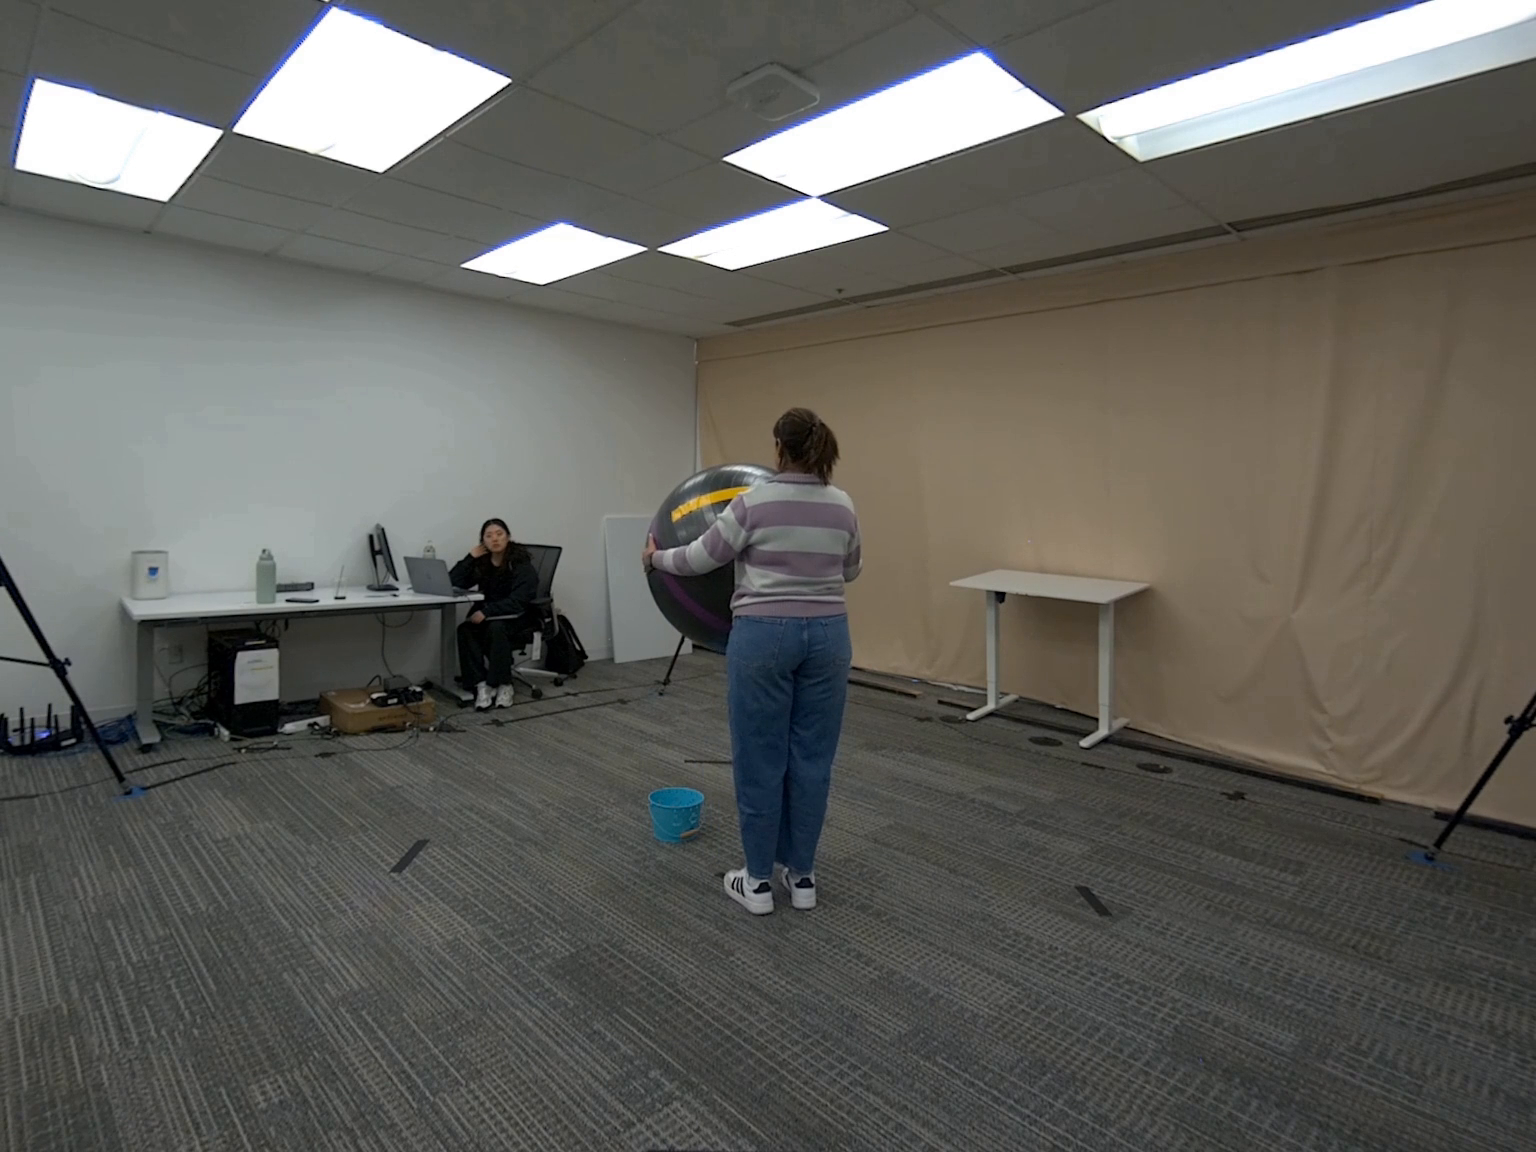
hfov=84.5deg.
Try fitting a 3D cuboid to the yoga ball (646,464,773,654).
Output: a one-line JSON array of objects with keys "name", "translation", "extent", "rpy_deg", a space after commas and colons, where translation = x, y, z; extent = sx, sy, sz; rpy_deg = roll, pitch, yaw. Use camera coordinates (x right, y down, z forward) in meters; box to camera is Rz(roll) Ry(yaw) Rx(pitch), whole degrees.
[{"name": "yoga ball", "translation": [-0.117, -0.066, 3.366], "extent": [0.757, 0.756, 0.761], "rpy_deg": [1, 4, -1]}]
